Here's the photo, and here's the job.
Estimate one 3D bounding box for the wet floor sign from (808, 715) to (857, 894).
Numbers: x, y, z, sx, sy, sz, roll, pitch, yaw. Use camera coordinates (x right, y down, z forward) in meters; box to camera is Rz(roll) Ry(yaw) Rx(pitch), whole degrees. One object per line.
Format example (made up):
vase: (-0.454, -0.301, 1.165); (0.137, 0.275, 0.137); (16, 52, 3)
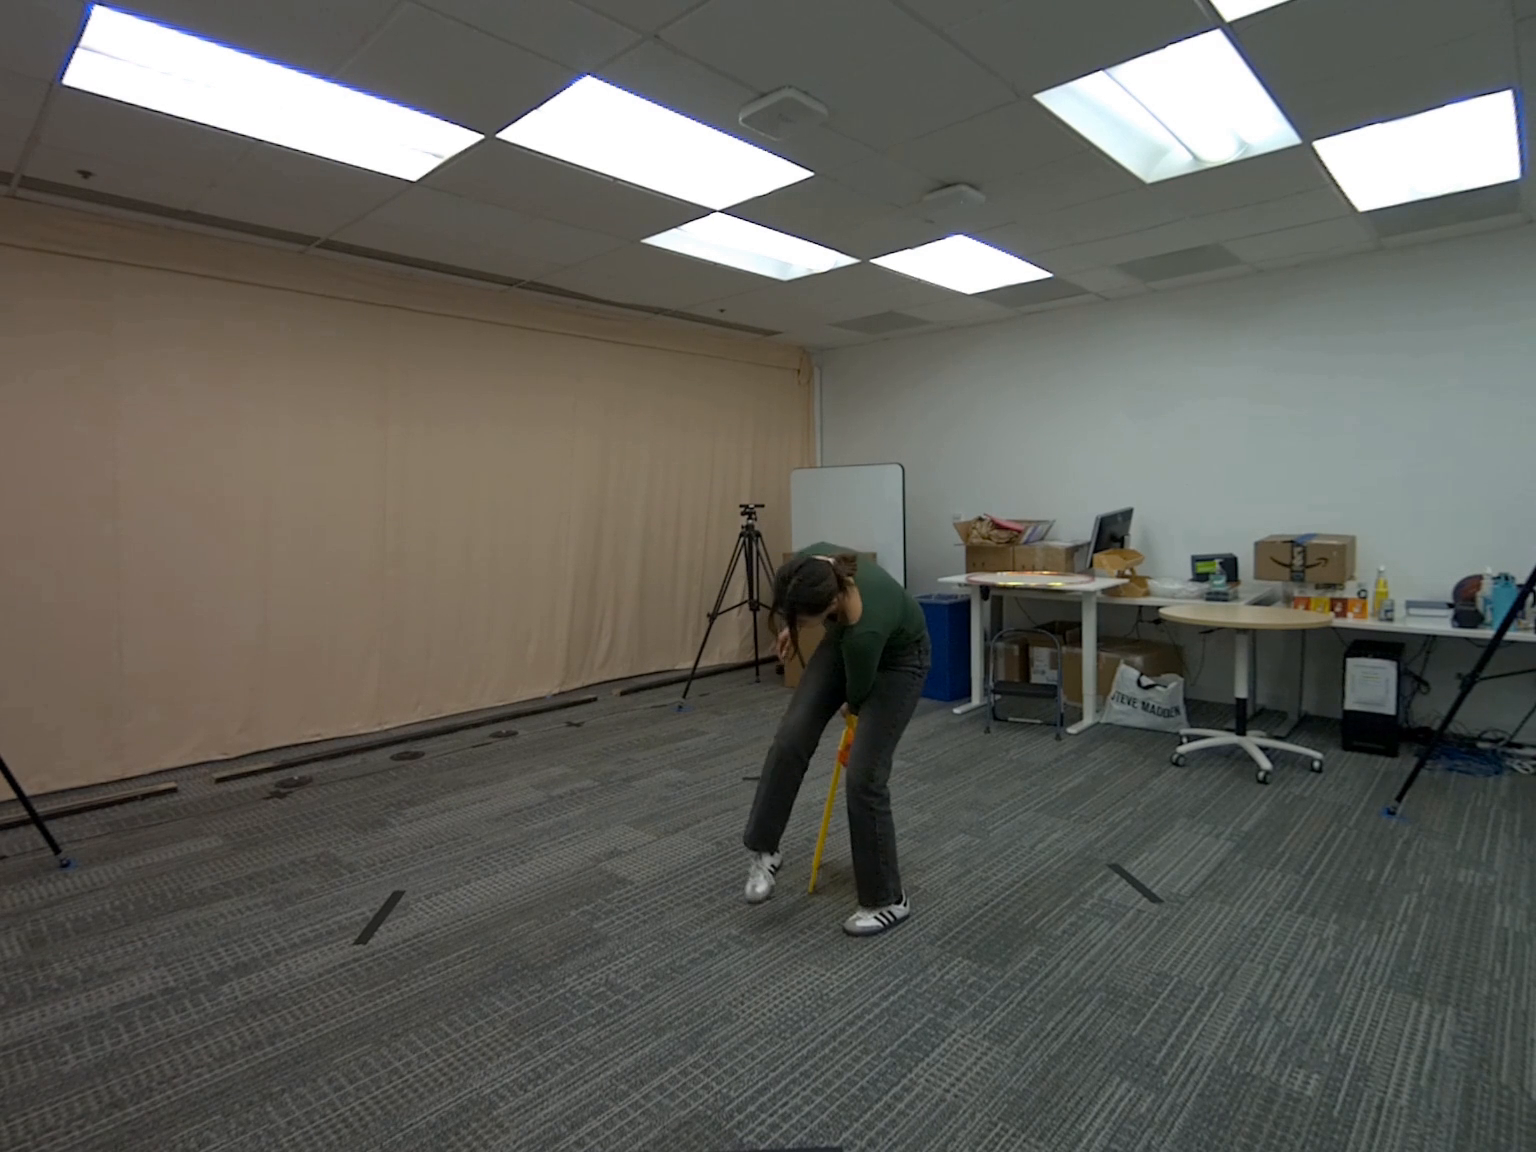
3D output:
wet floor sign: (0.308, 0.801, 3.089); (0.293, 0.644, 0.279); (0, 5, 11)
